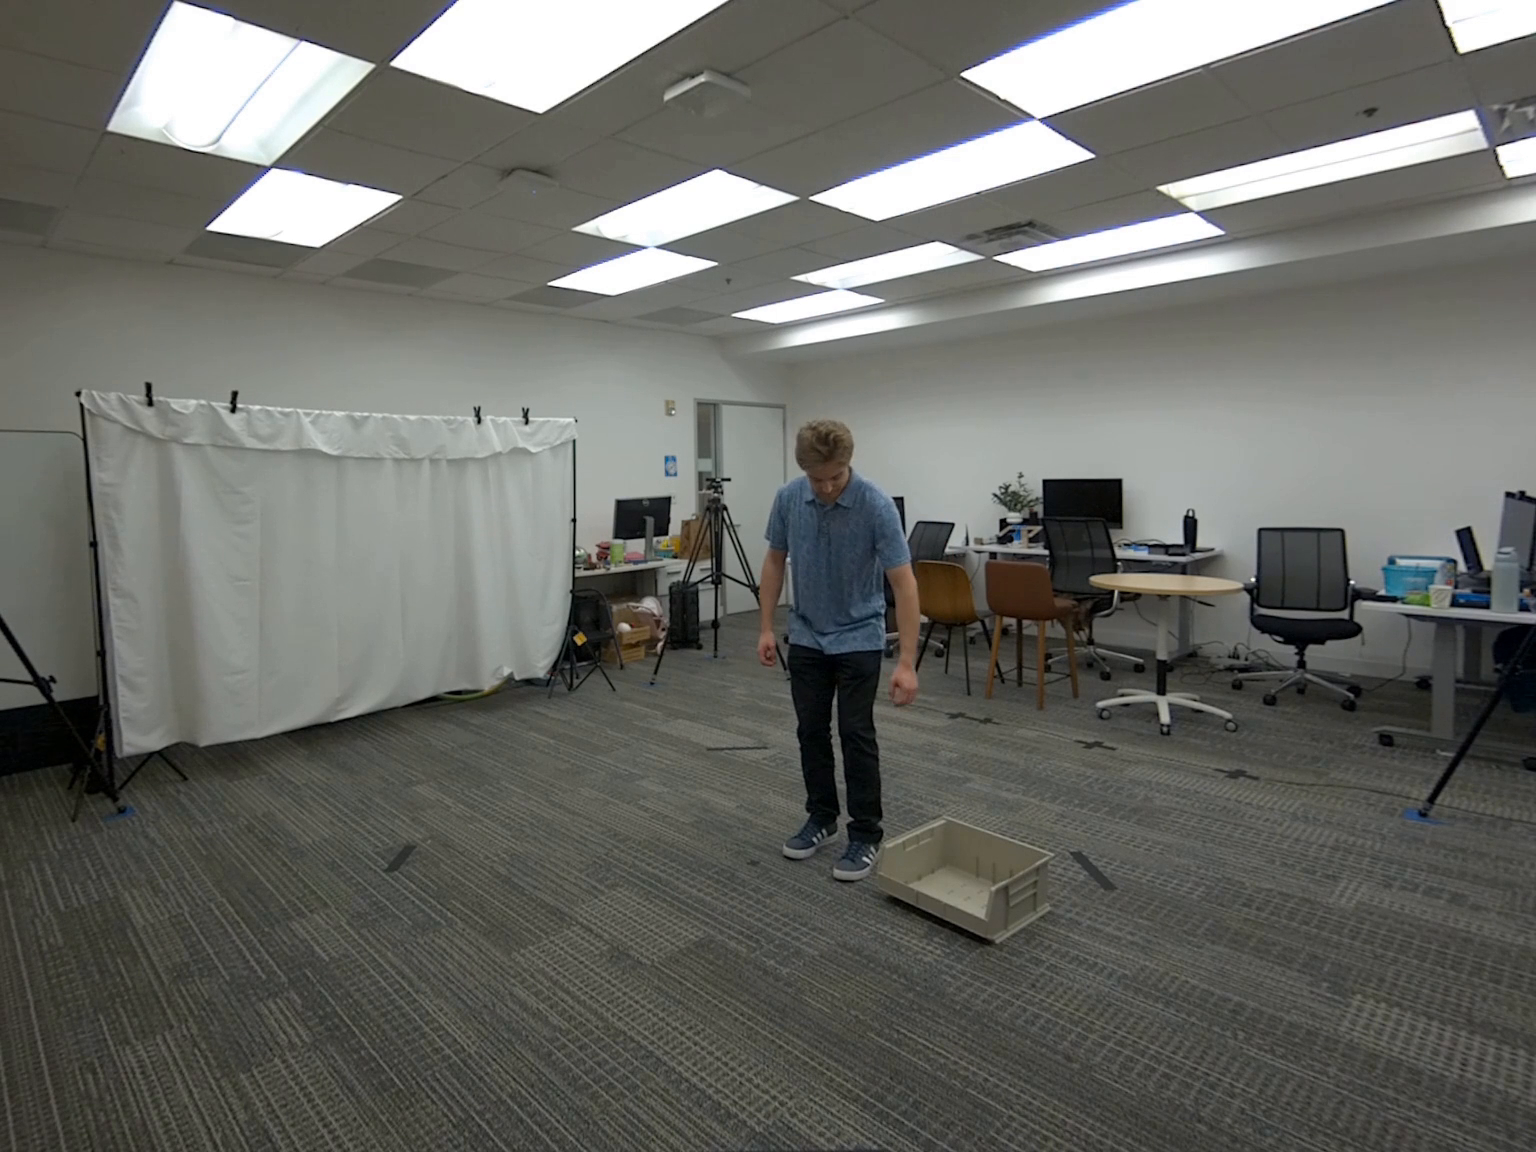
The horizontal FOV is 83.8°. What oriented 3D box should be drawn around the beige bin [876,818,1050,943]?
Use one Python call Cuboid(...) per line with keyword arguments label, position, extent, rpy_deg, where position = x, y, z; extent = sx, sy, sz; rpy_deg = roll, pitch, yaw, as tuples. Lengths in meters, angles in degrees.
Cuboid(label="beige bin", position=(0.639, 0.981, 2.772), extent=(0.367, 0.188, 0.435), rpy_deg=(-5, 6, -41))
